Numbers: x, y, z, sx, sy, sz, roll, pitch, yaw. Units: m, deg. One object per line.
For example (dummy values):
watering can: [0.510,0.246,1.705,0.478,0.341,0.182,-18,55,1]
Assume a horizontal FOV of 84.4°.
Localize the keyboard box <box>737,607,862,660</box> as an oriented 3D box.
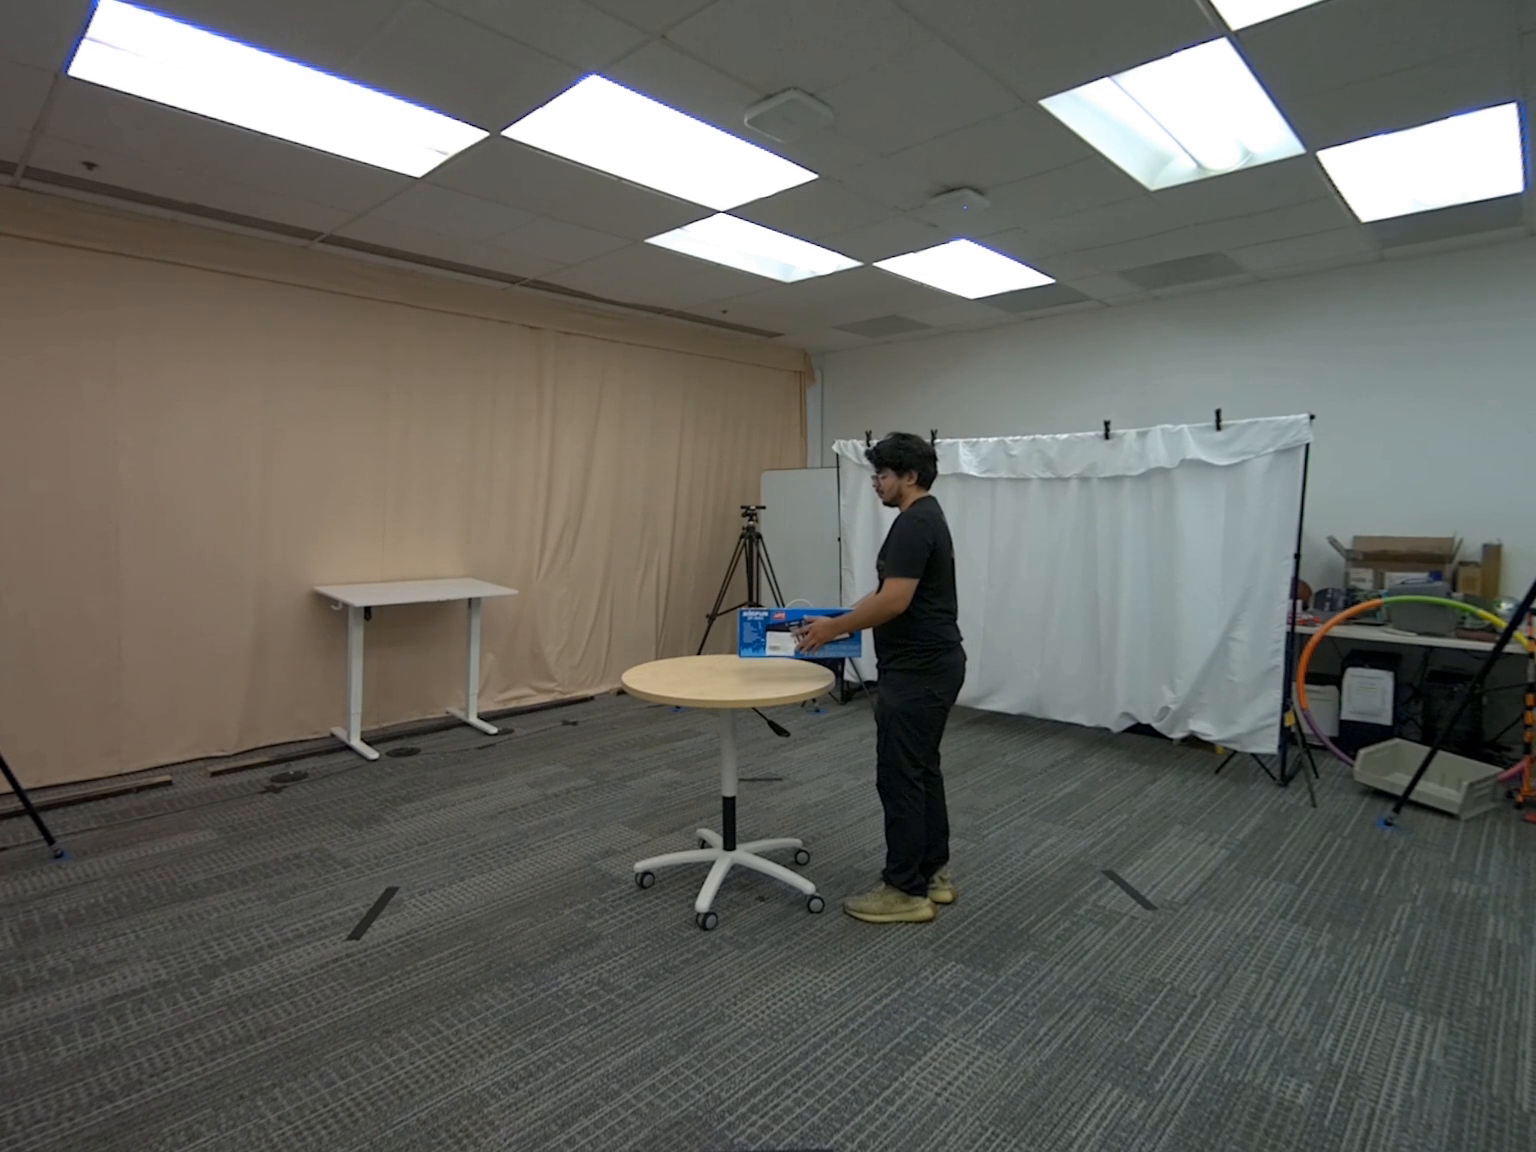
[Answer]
keyboard box: [0.113,0.207,2.999,0.434,0.176,0.059,0,2,-7]
